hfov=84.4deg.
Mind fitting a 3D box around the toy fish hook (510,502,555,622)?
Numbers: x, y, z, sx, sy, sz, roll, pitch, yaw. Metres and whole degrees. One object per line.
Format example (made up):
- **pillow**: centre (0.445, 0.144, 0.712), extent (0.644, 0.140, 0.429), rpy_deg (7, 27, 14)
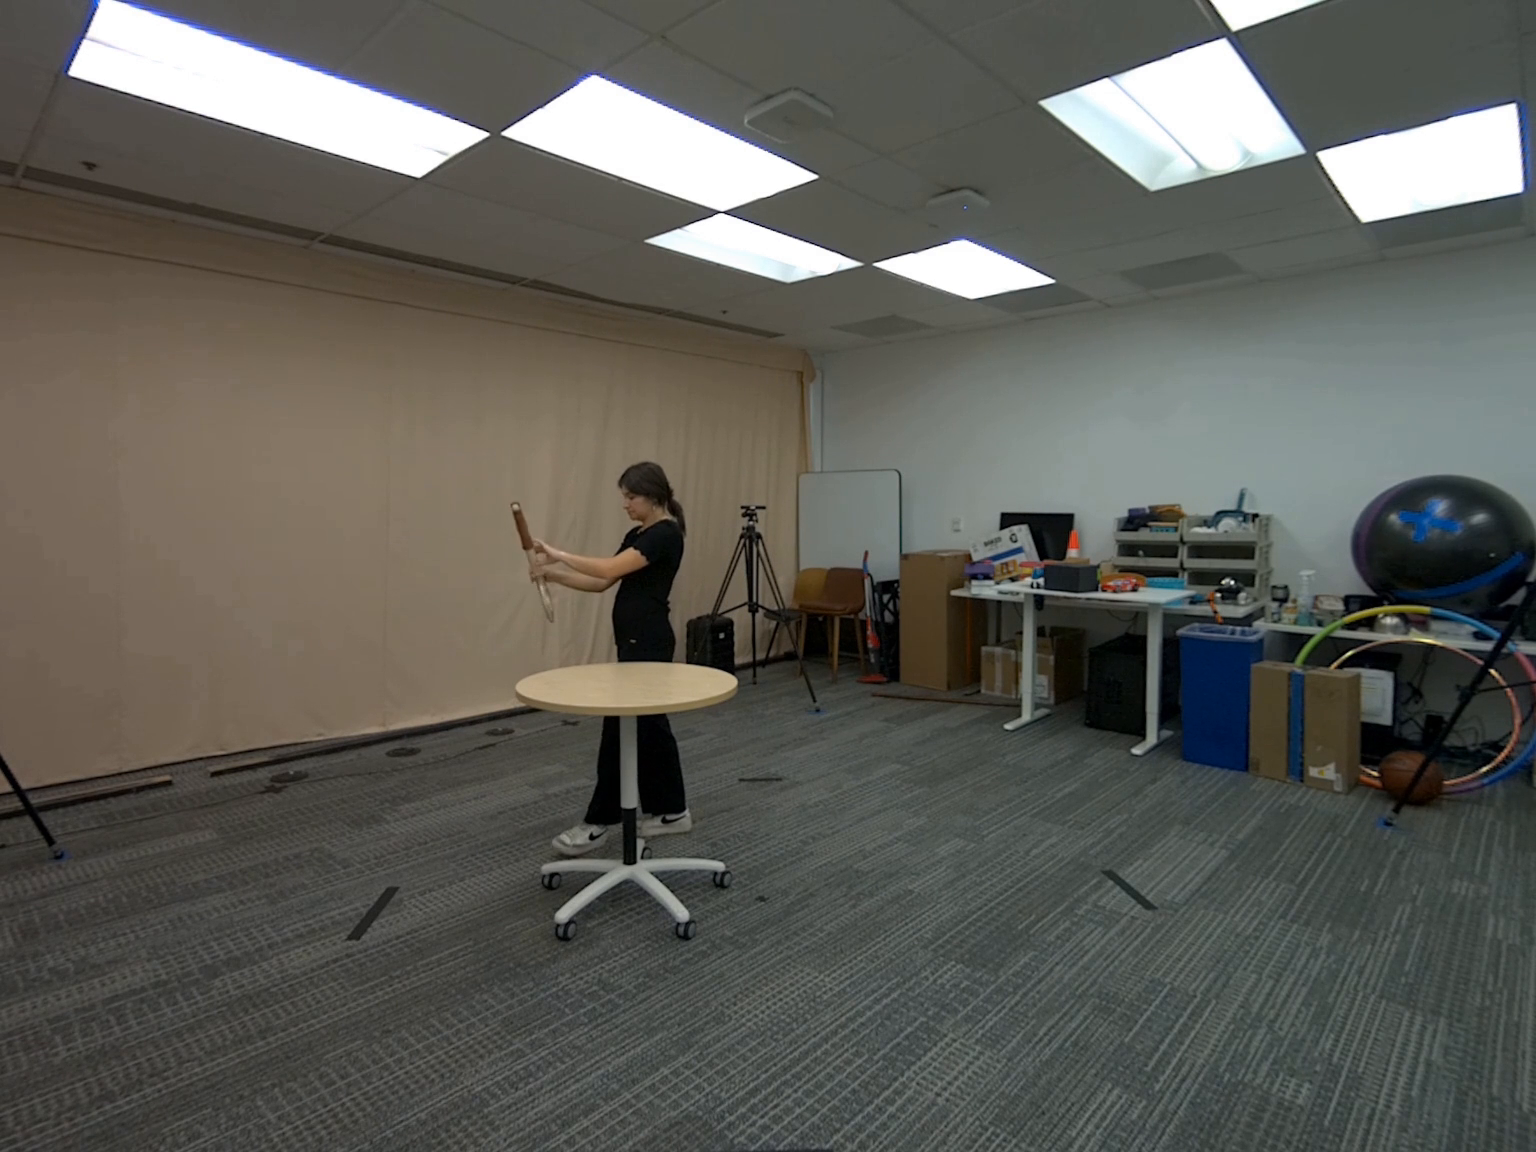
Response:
- **toy fish hook**: centre (-0.928, -0.047, 3.322), extent (0.048, 0.496, 0.231), rpy_deg (-18, 28, -13)
